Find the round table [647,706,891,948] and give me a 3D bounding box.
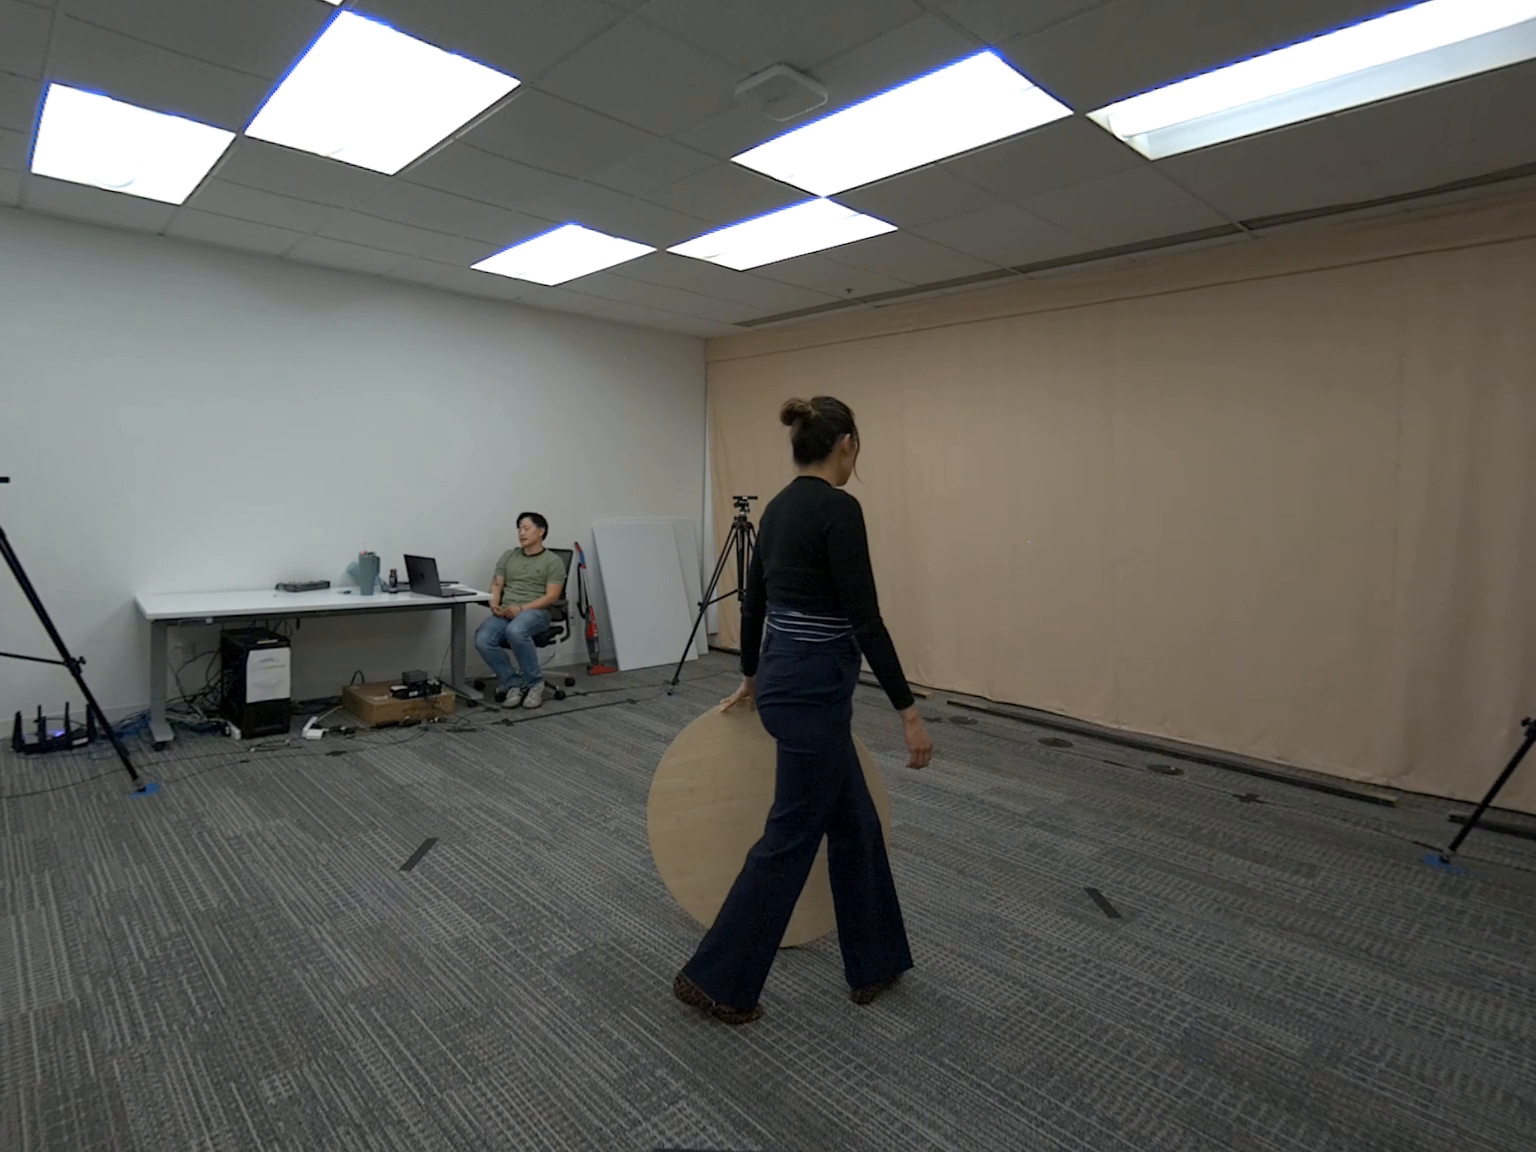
[{"bbox_3d":[0.018,0.785,3.023,0.768,0.766,0.788,2,-3,6],"label":"round table"}]
